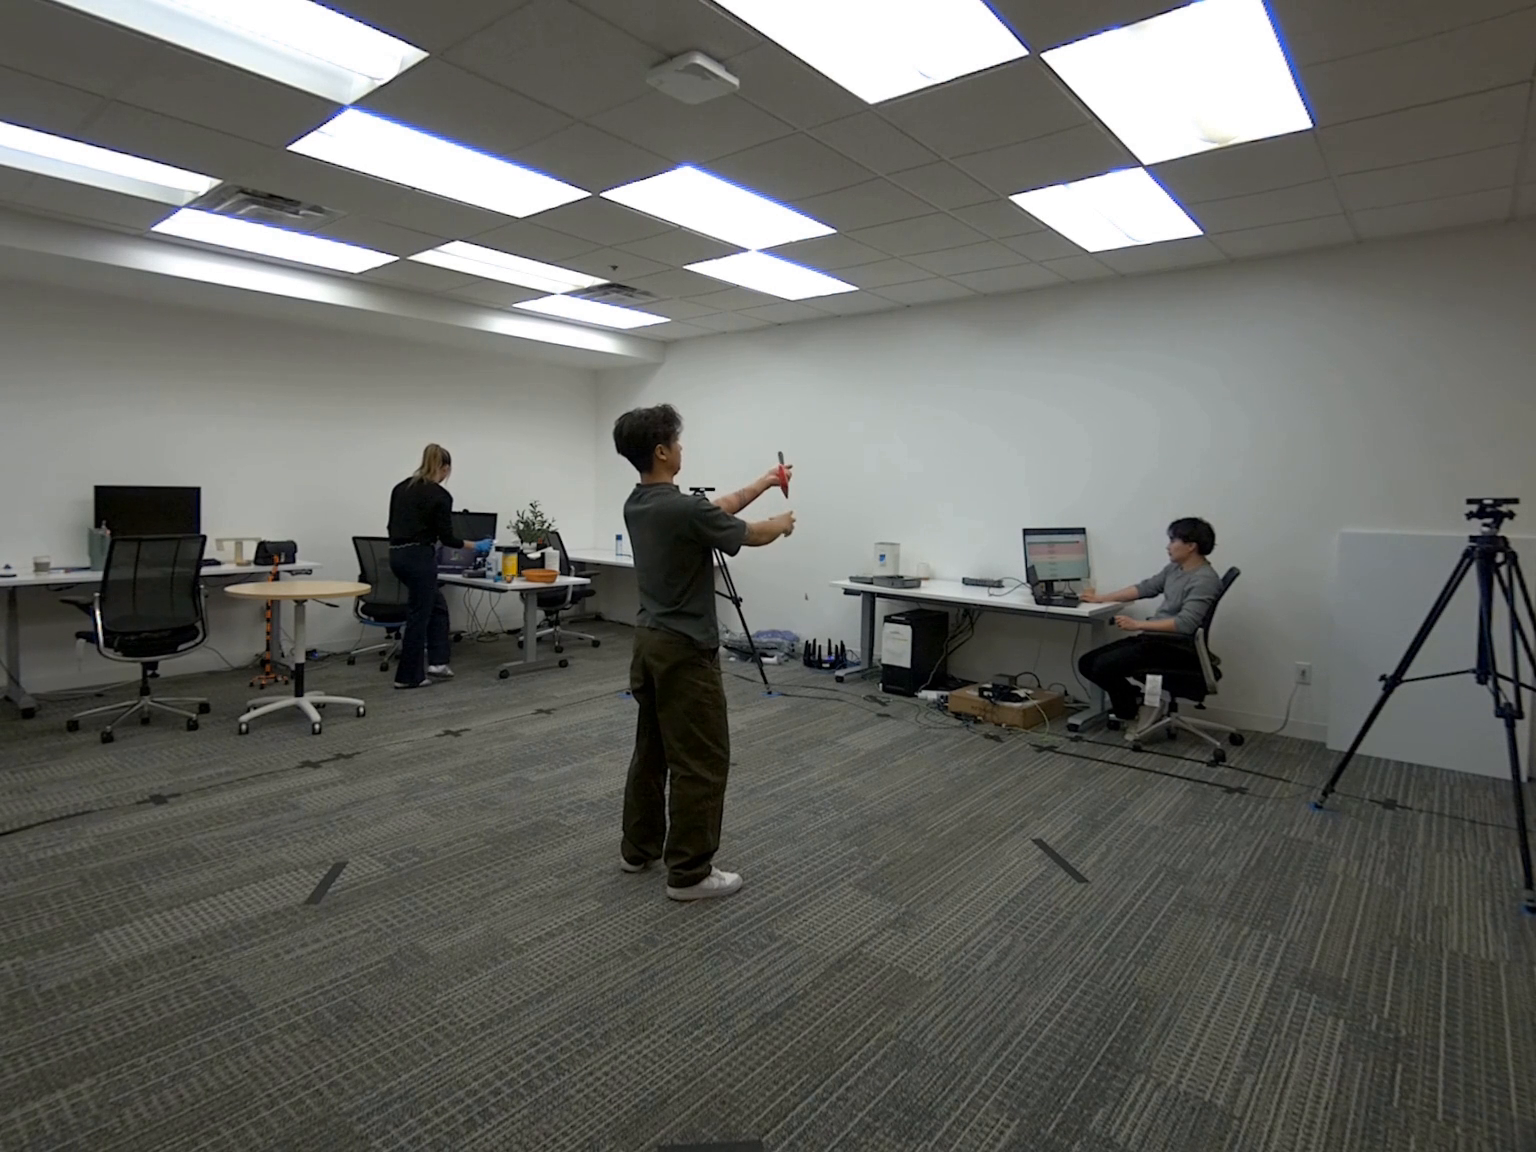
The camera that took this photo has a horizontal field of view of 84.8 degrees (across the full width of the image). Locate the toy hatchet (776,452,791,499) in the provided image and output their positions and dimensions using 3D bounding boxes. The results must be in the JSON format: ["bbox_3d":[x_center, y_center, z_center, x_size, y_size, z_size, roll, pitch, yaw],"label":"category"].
[{"bbox_3d":[0.042,-0.422,3.237,0.030,0.126,0.278,-8,43,3],"label":"toy hatchet"}]
